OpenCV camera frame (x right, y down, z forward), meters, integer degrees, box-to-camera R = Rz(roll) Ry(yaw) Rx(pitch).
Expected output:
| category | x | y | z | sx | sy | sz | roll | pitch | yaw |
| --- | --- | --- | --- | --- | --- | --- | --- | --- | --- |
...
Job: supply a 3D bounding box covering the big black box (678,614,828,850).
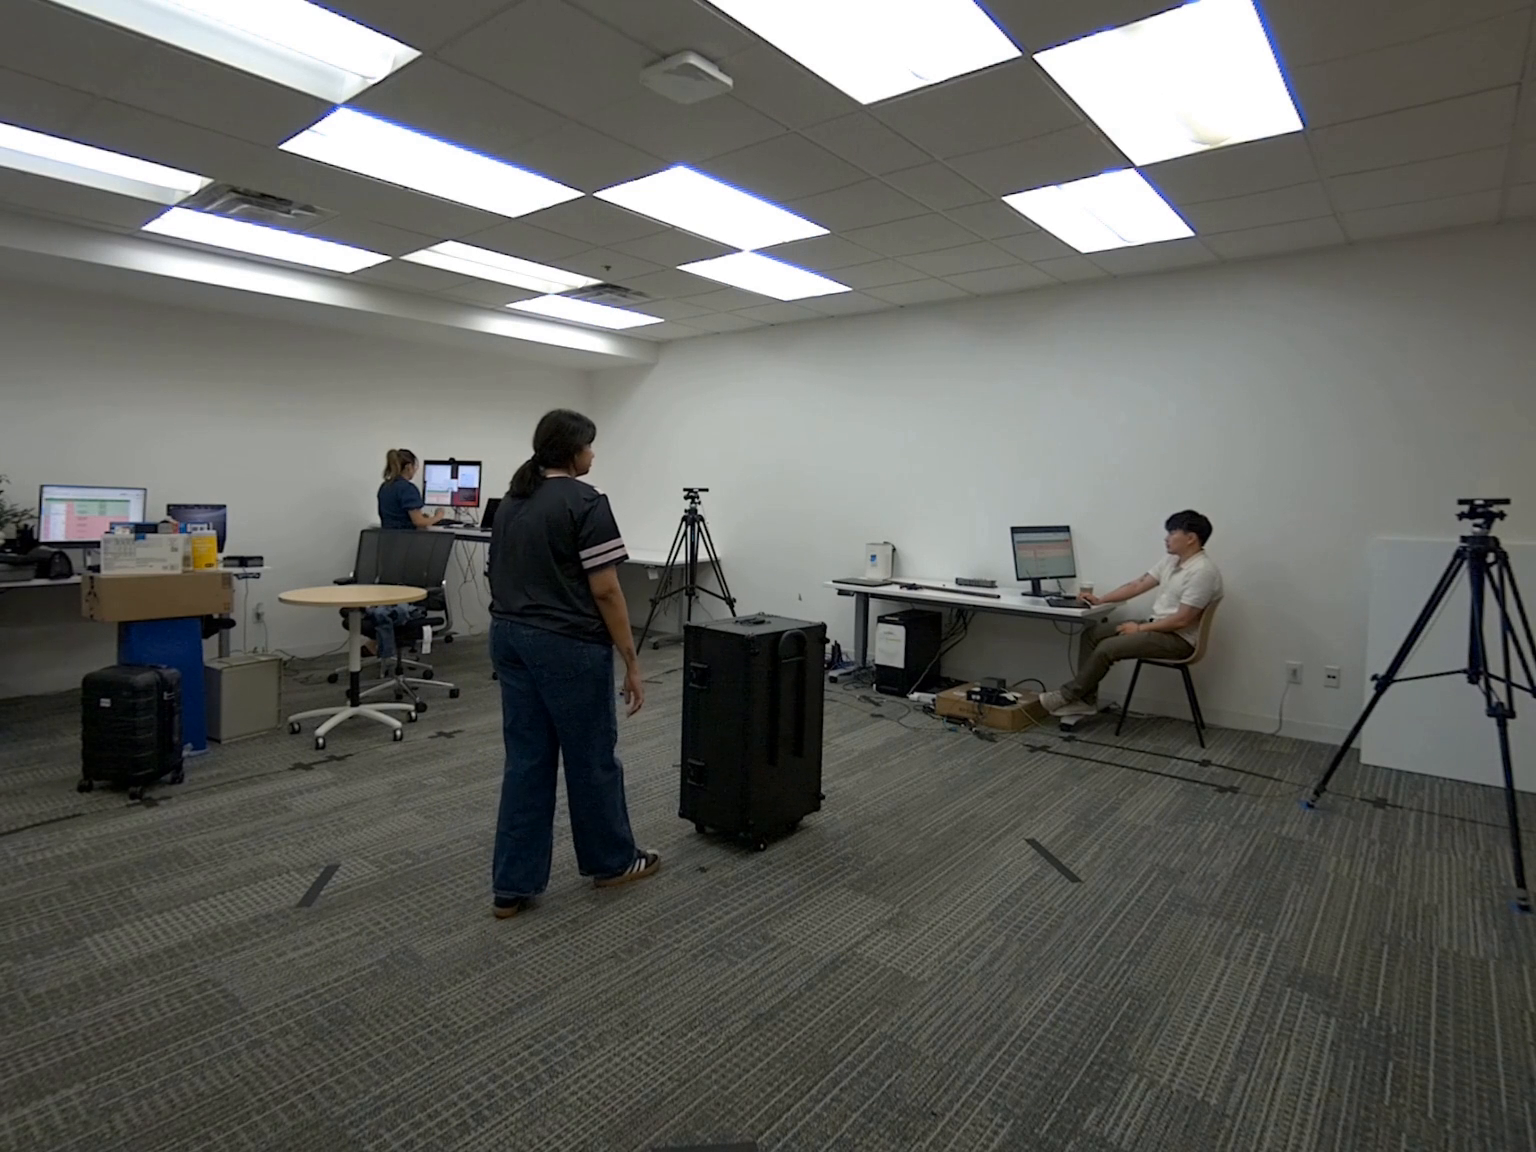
| category | x | y | z | sx | sy | sz | roll | pitch | yaw |
| --- | --- | --- | --- | --- | --- | --- | --- | --- | --- |
| big black box | -0.061 | 0.616 | 3.464 | 0.398 | 0.866 | 0.508 | 4 | 5 | 40 |
